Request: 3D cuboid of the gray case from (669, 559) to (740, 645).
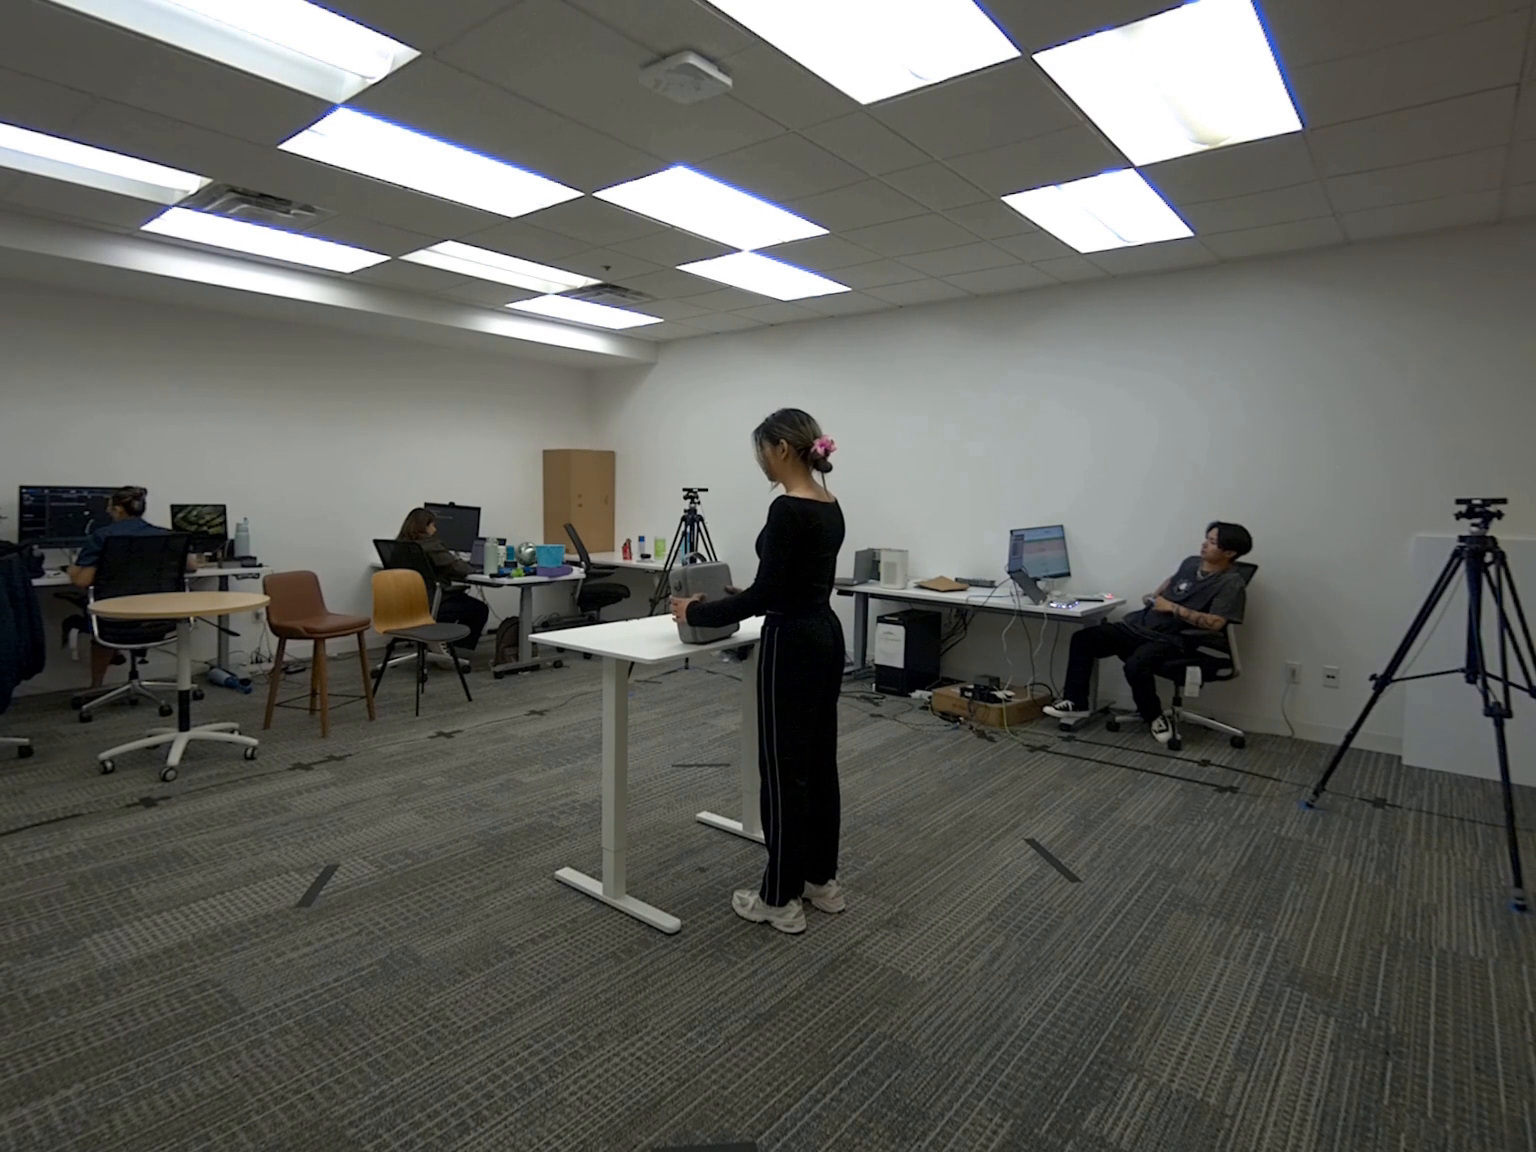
[{"bbox_3d":[-0.223,0.081,2.863,0.107,0.262,0.250,-12,-3,32],"label":"gray case"}]
